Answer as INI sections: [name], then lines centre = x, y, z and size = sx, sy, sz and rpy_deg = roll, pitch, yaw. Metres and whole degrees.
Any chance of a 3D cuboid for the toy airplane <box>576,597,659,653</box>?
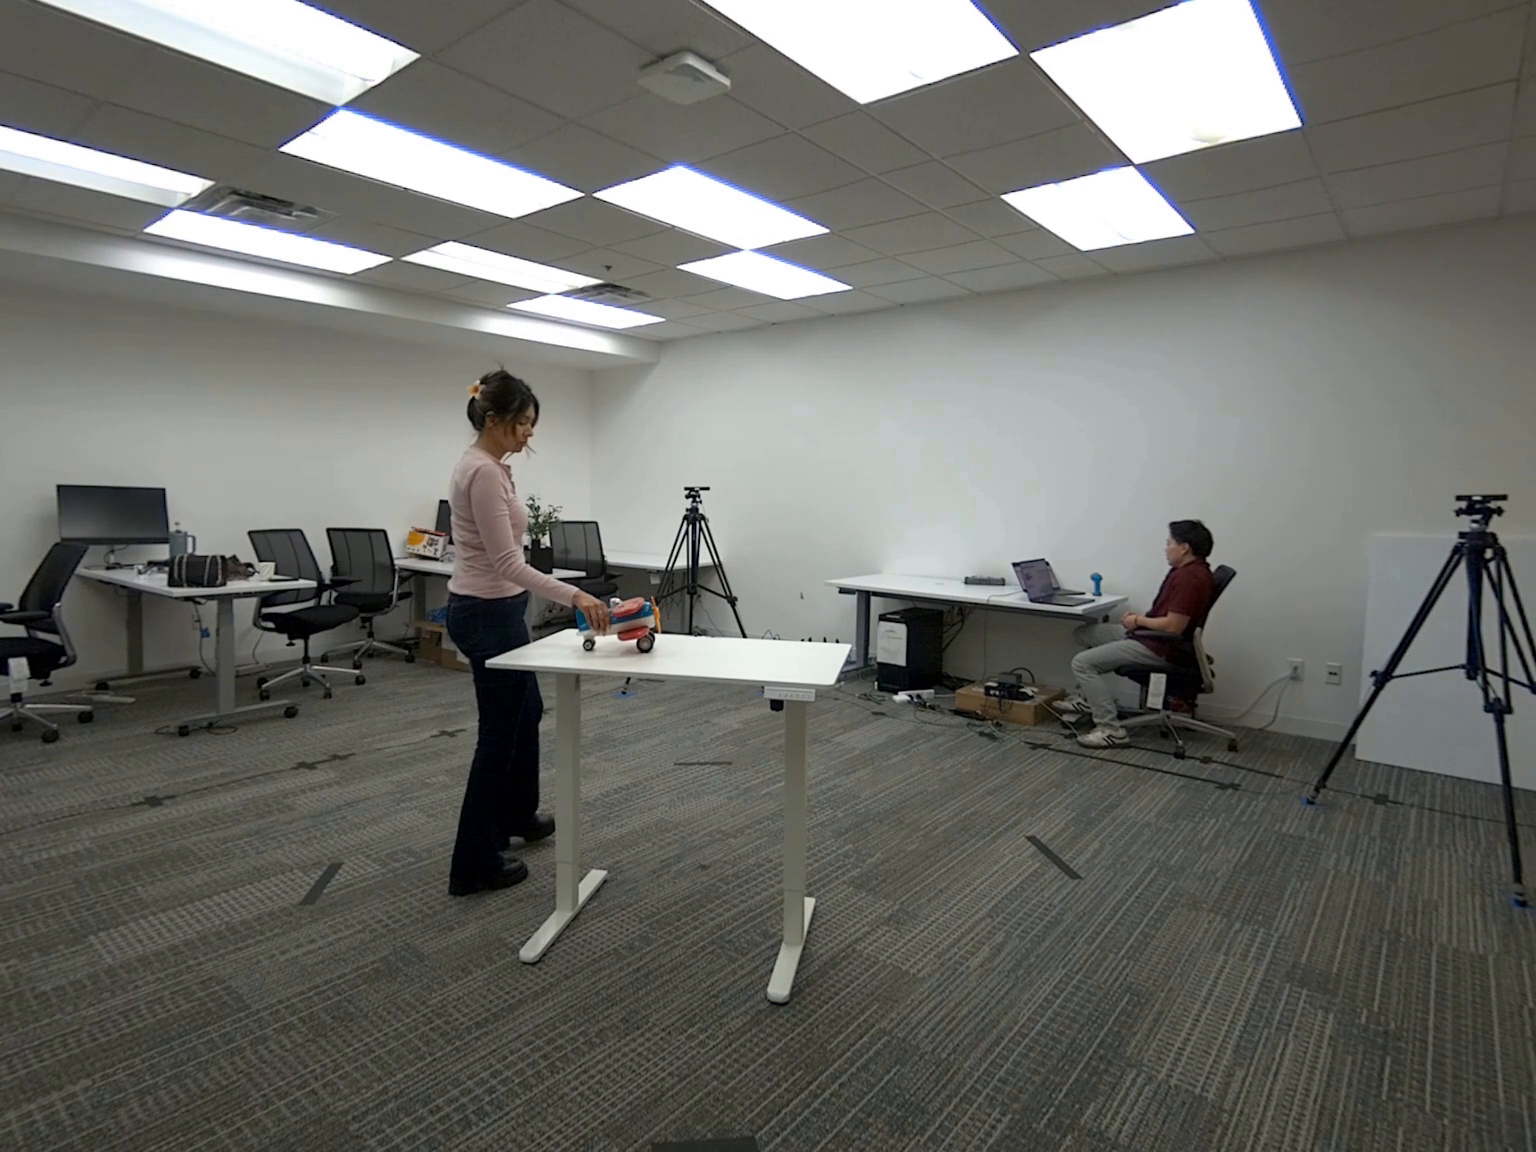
[toy airplane]
centre = -0.471, 0.155, 2.631
size = 0.252, 0.156, 0.258
rpy_deg = -2, 4, -30
